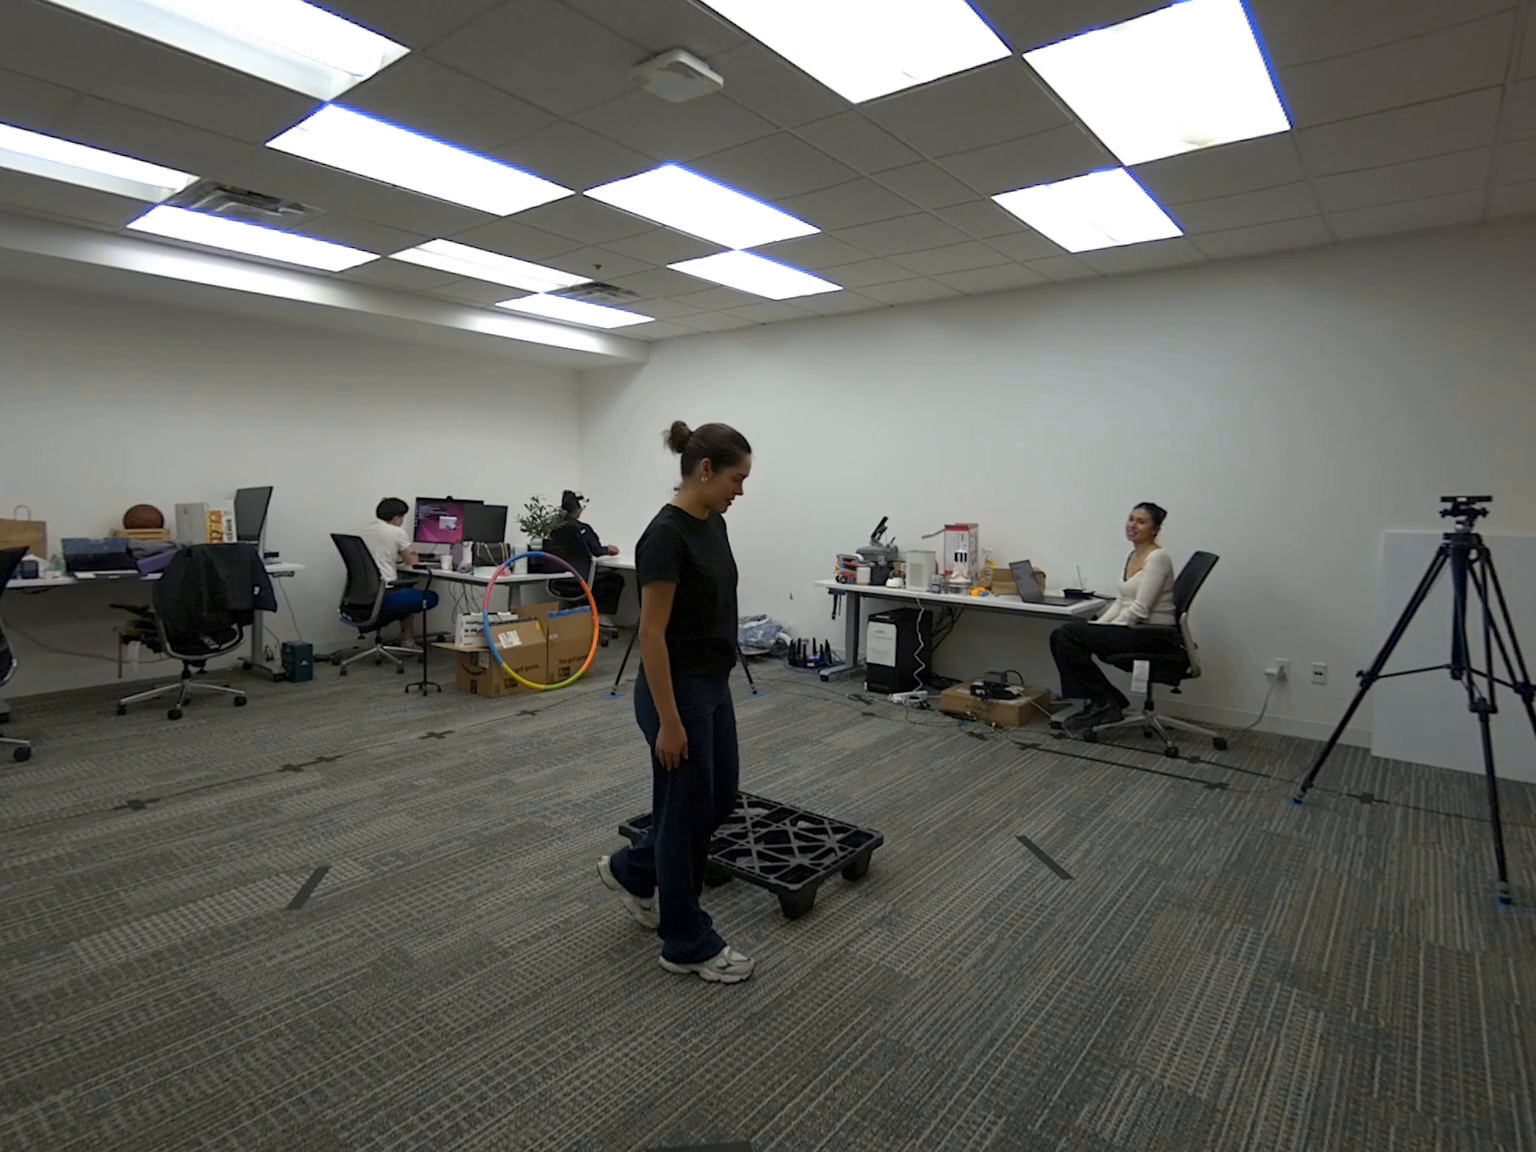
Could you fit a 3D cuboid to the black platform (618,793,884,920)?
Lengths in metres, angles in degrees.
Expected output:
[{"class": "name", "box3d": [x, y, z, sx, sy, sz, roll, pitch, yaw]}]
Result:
[{"class": "black platform", "box3d": [-0.049, 0.998, 3.164, 0.833, 0.143, 0.587, 6, 7, 38]}]
